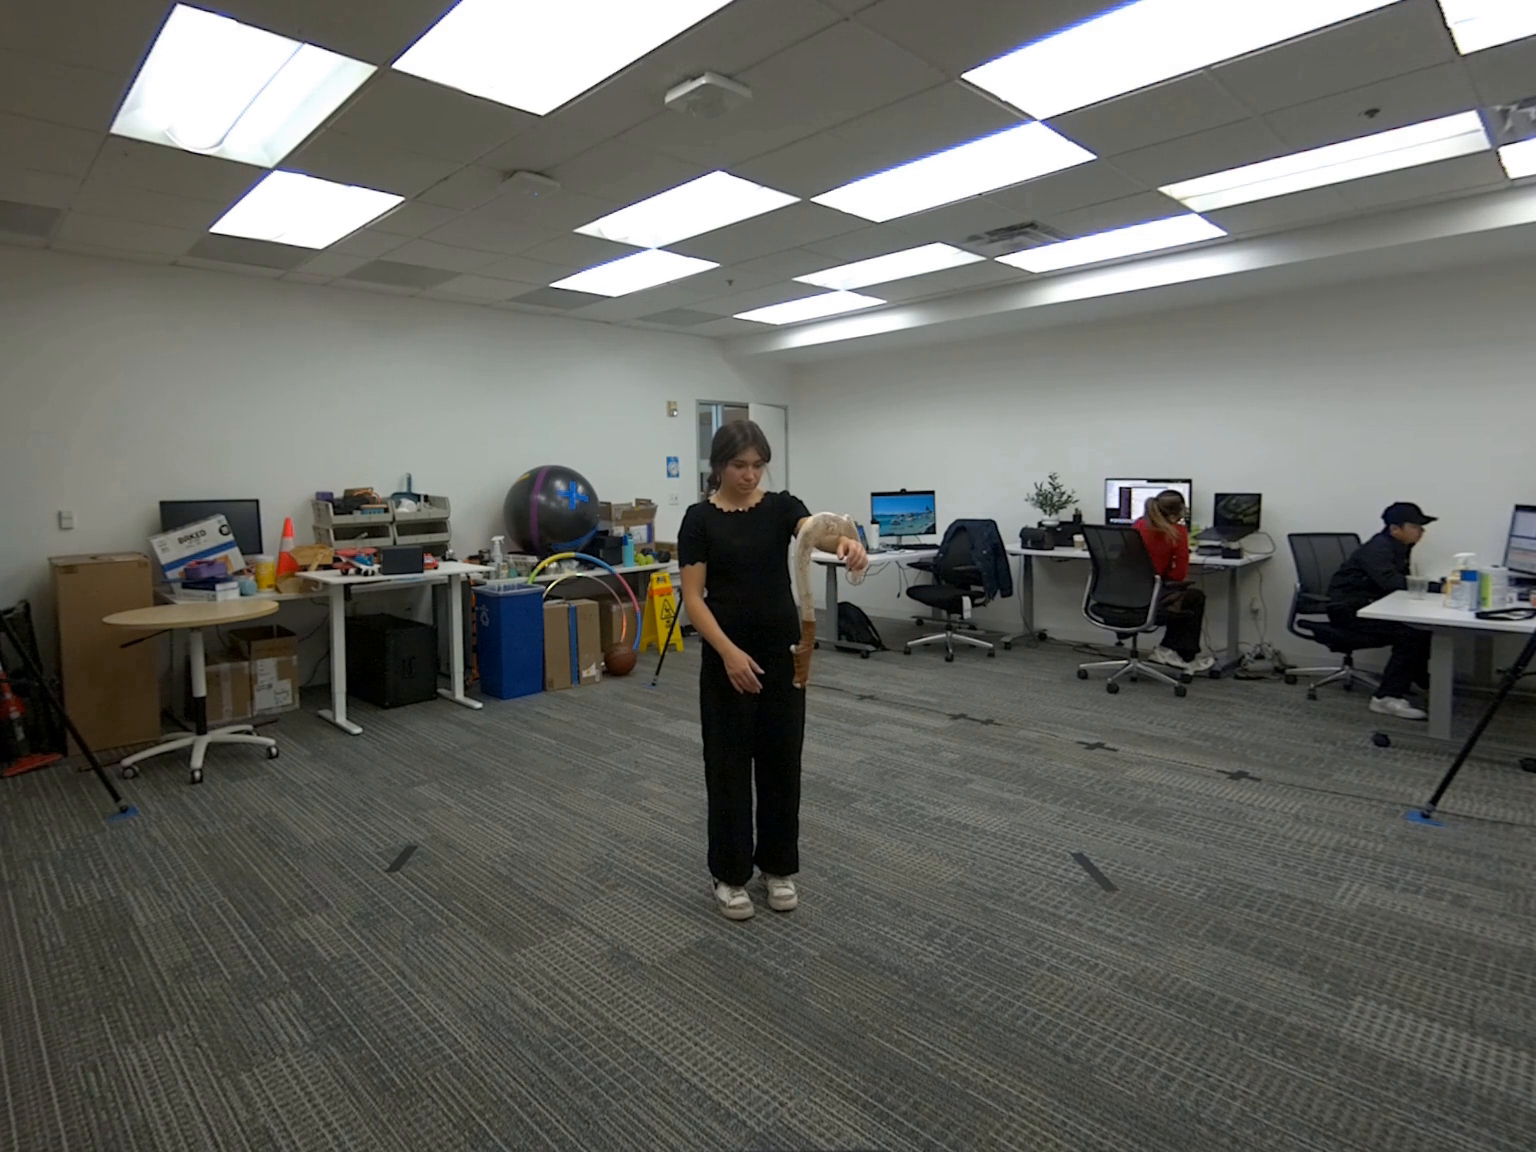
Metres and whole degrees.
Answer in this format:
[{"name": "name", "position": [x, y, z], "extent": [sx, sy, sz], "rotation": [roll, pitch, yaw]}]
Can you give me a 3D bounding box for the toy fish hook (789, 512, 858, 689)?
[{"name": "toy fish hook", "position": [0.169, 0.084, 2.442], "extent": [0.221, 0.506, 0.049], "rotation": [6, 2, -16]}]
